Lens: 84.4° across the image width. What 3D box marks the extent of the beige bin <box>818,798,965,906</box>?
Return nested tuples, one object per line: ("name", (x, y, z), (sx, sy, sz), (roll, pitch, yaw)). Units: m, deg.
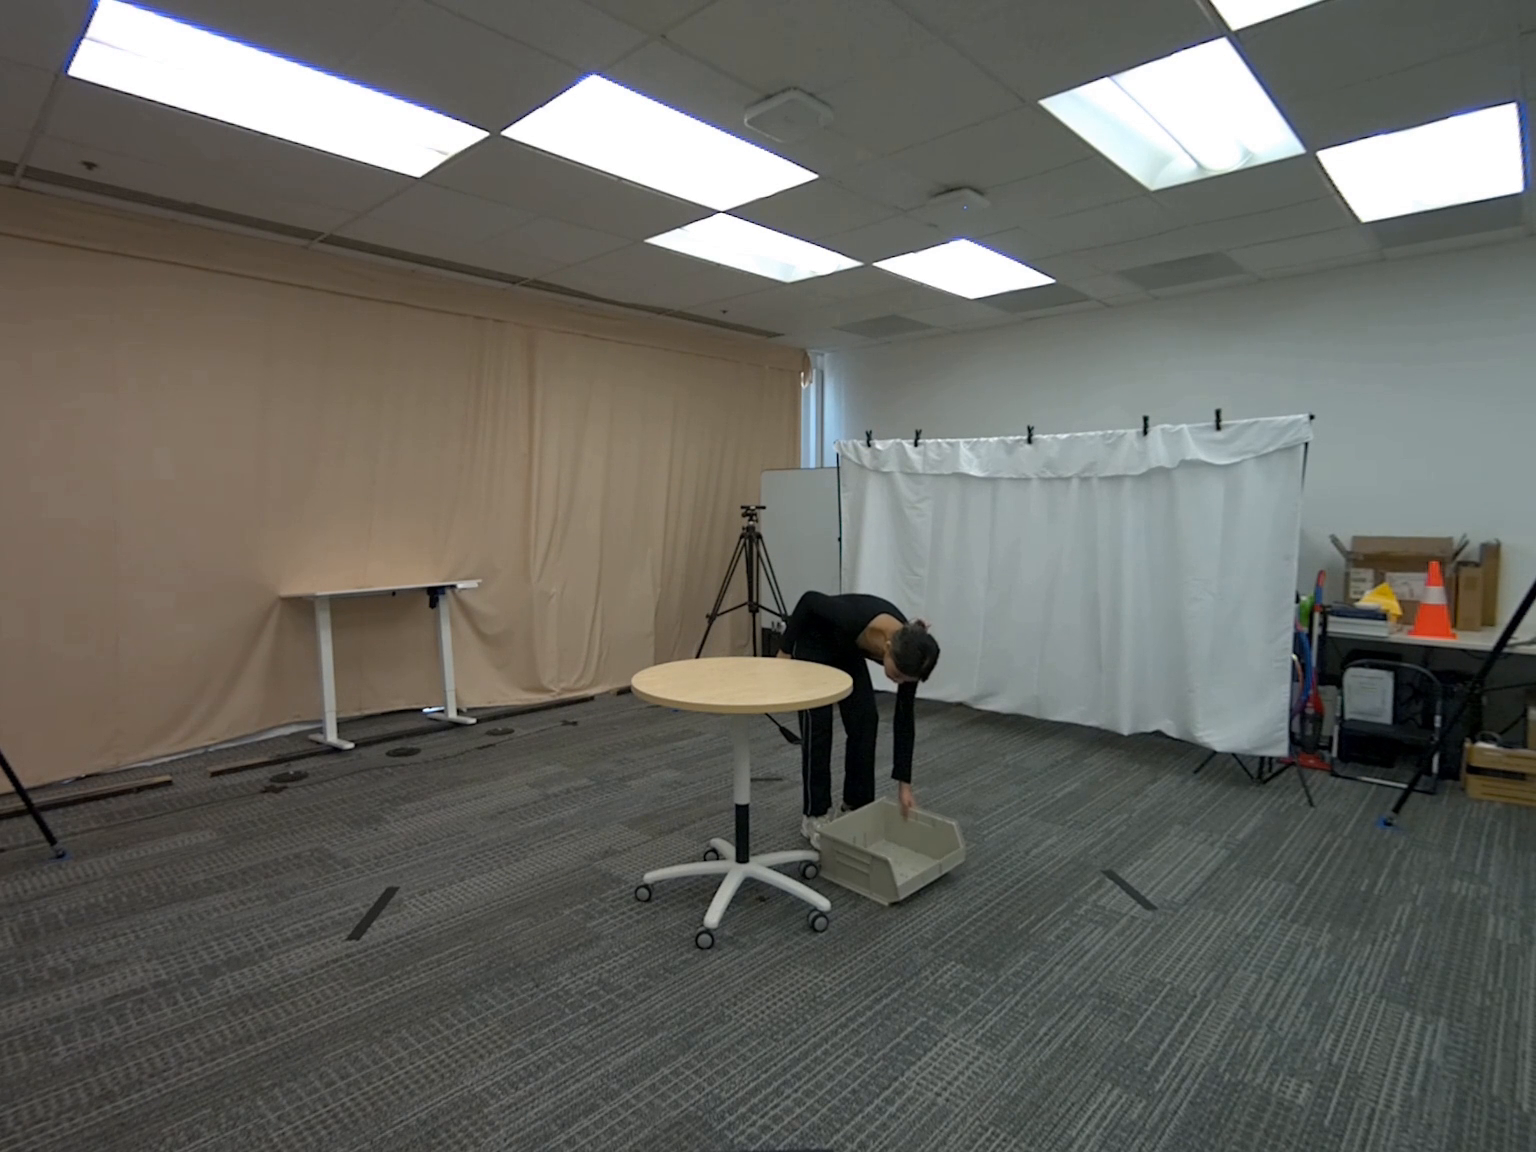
("beige bin", (0.466, 1.024, 3.151), (0.410, 0.188, 0.390), (-9, 10, -43))
